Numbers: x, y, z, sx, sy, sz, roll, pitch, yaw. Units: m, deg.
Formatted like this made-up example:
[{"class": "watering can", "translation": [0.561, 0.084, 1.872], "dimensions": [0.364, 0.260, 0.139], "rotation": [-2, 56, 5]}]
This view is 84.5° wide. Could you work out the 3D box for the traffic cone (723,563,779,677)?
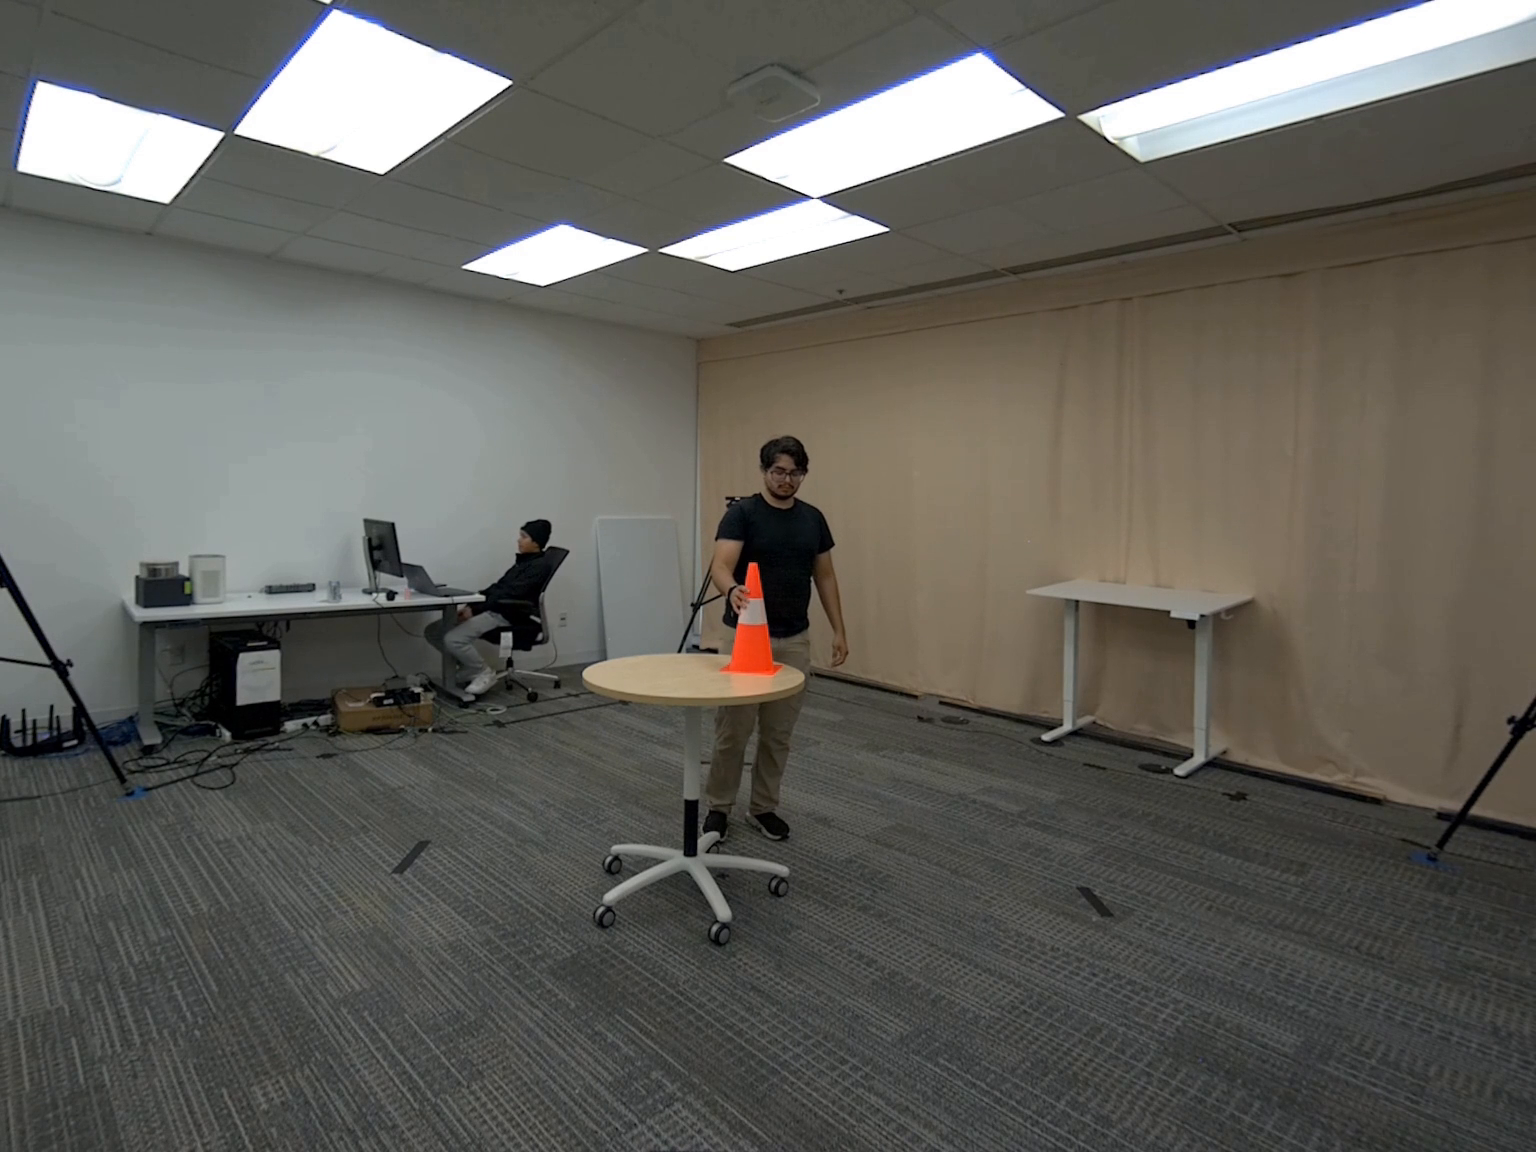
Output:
[{"class": "traffic cone", "translation": [-0.060, 0.147, 3.015], "dimensions": [0.202, 0.383, 0.207], "rotation": [6, 4, -9]}]
